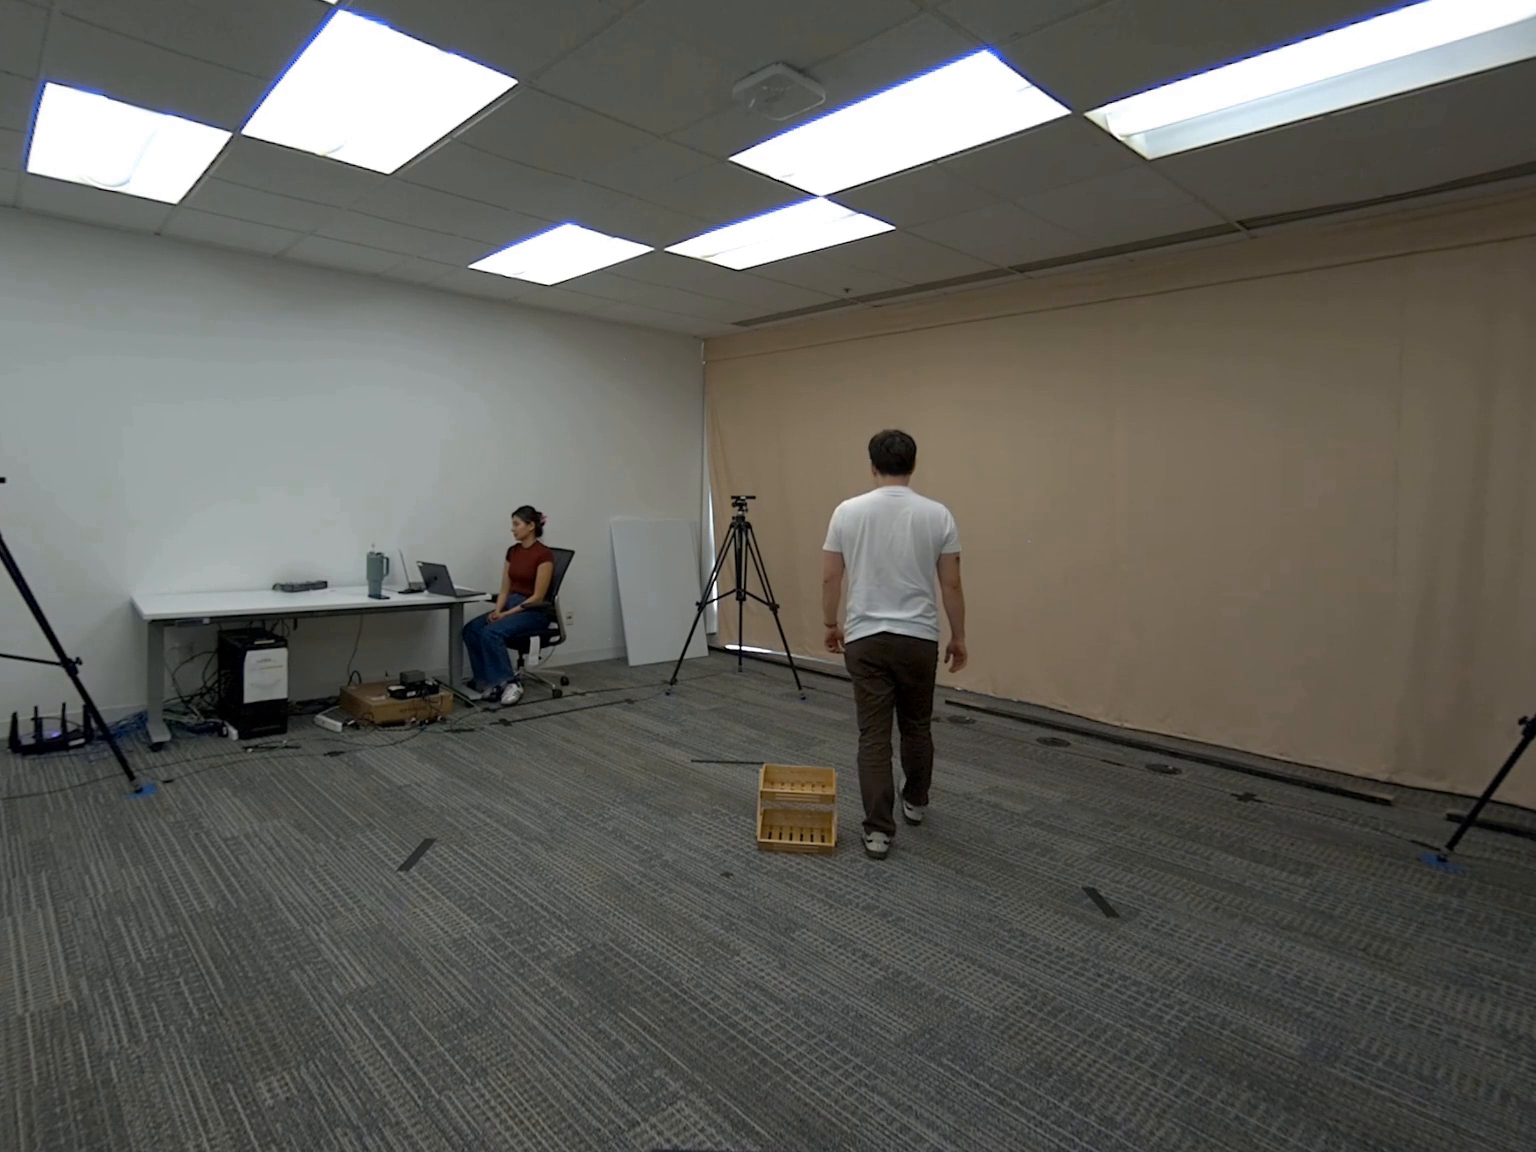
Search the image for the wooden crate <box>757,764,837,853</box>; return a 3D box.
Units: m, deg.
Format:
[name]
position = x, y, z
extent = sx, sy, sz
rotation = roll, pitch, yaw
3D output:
[wooden crate]
position = 0.113, 0.943, 3.429
extent = 0.326, 0.273, 0.301
rotation = 1, 3, 4
